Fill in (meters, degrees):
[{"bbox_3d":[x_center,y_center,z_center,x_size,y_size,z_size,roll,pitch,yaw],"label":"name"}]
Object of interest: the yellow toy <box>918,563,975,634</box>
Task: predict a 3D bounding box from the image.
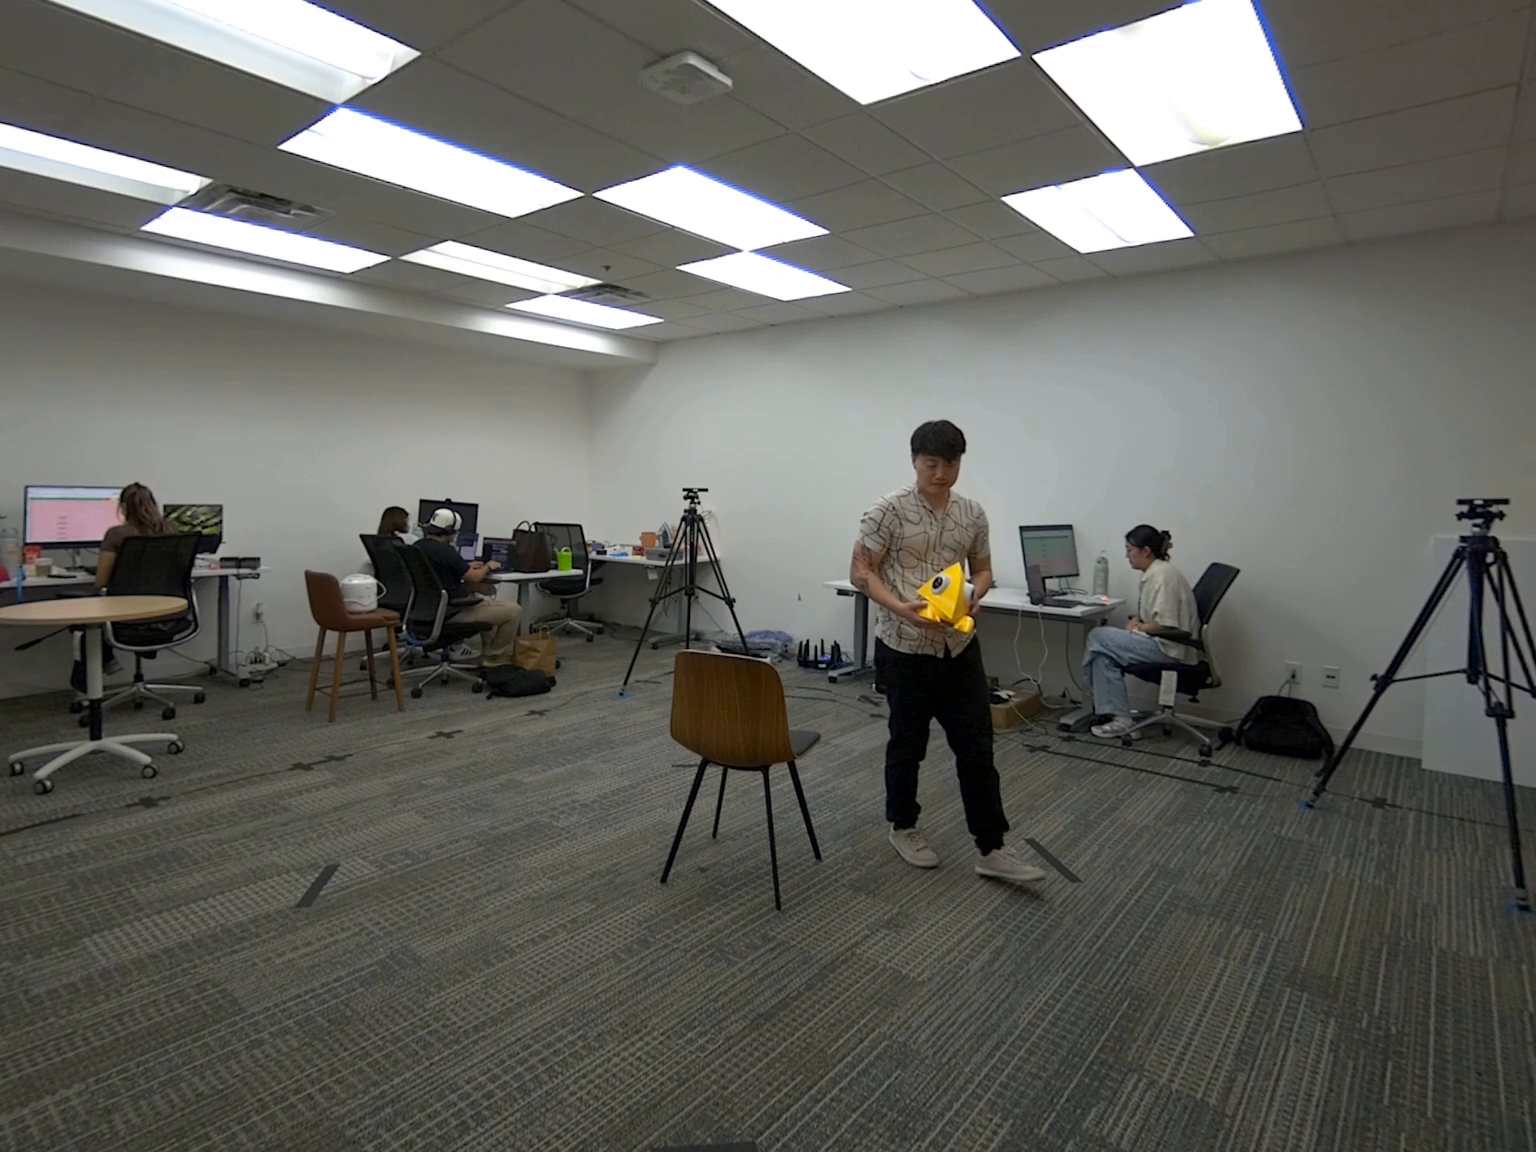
[{"bbox_3d":[0.643,0.055,2.979,0.205,0.231,0.193,20,-1,0],"label":"yellow toy"}]
